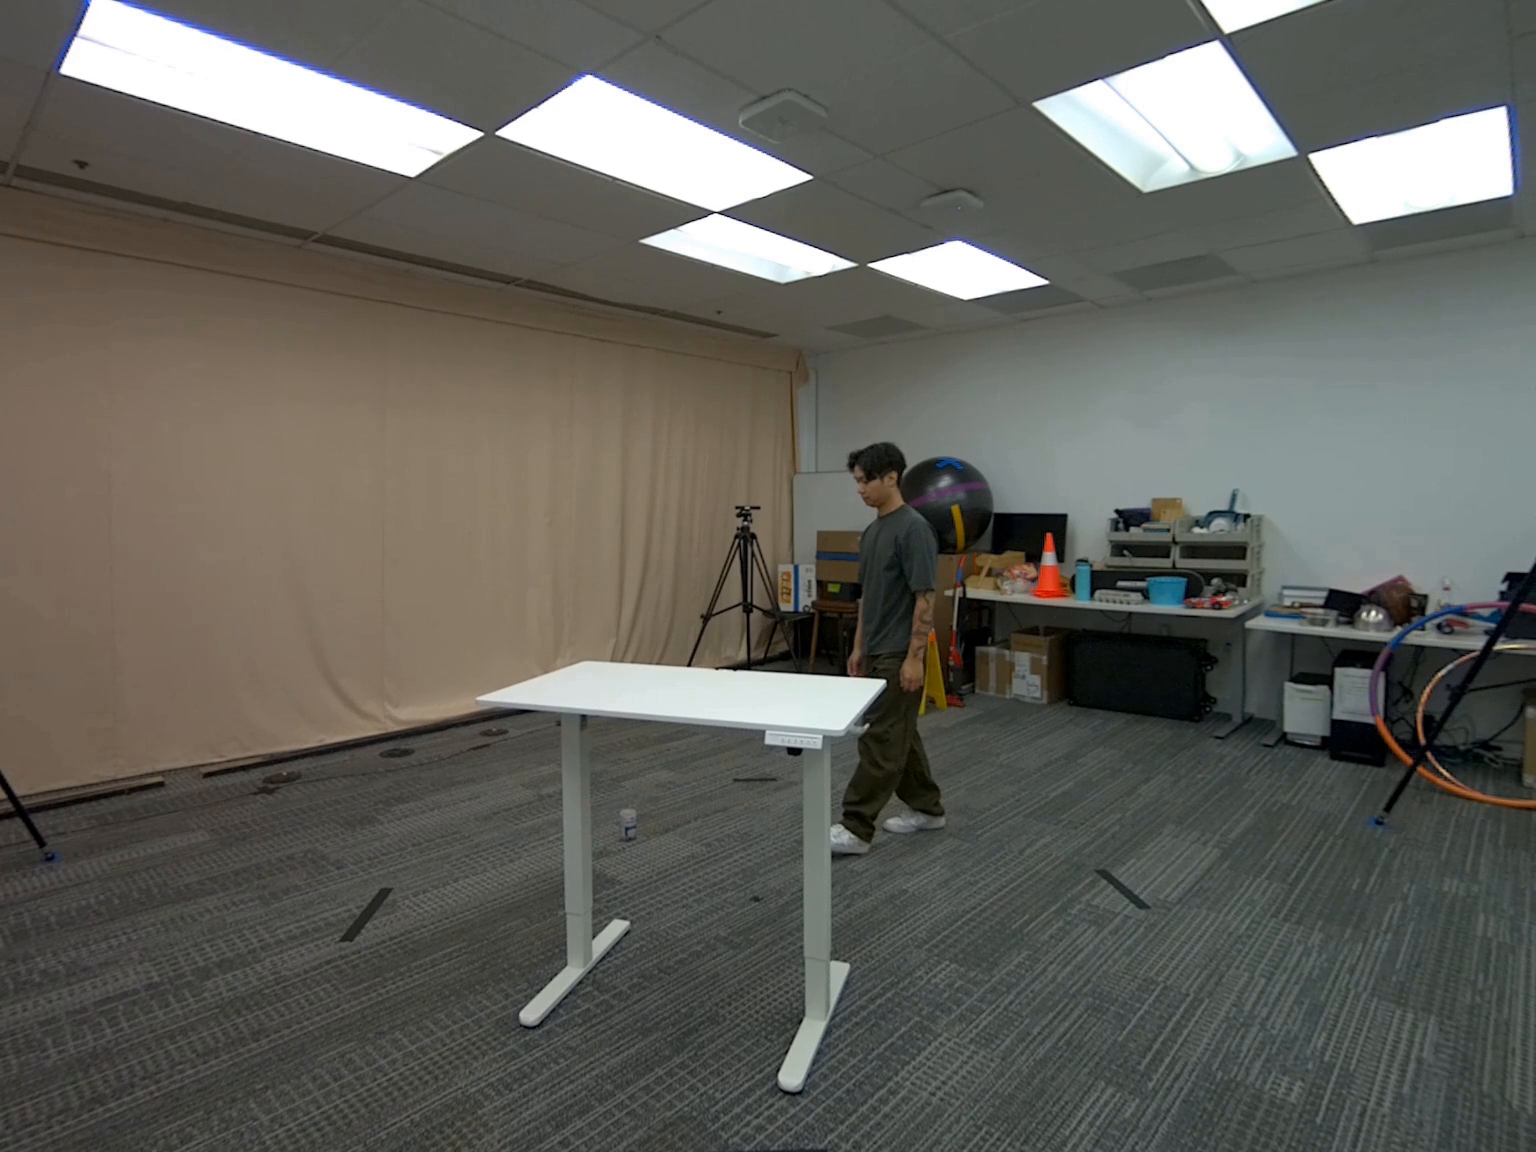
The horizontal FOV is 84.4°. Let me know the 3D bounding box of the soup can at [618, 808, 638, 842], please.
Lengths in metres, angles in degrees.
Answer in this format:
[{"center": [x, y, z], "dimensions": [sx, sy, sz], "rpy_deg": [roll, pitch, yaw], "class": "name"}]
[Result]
[{"center": [-0.584, 1.050, 3.526], "dimensions": [0.067, 0.121, 0.067], "rpy_deg": [-1, 2, -2], "class": "soup can"}]
